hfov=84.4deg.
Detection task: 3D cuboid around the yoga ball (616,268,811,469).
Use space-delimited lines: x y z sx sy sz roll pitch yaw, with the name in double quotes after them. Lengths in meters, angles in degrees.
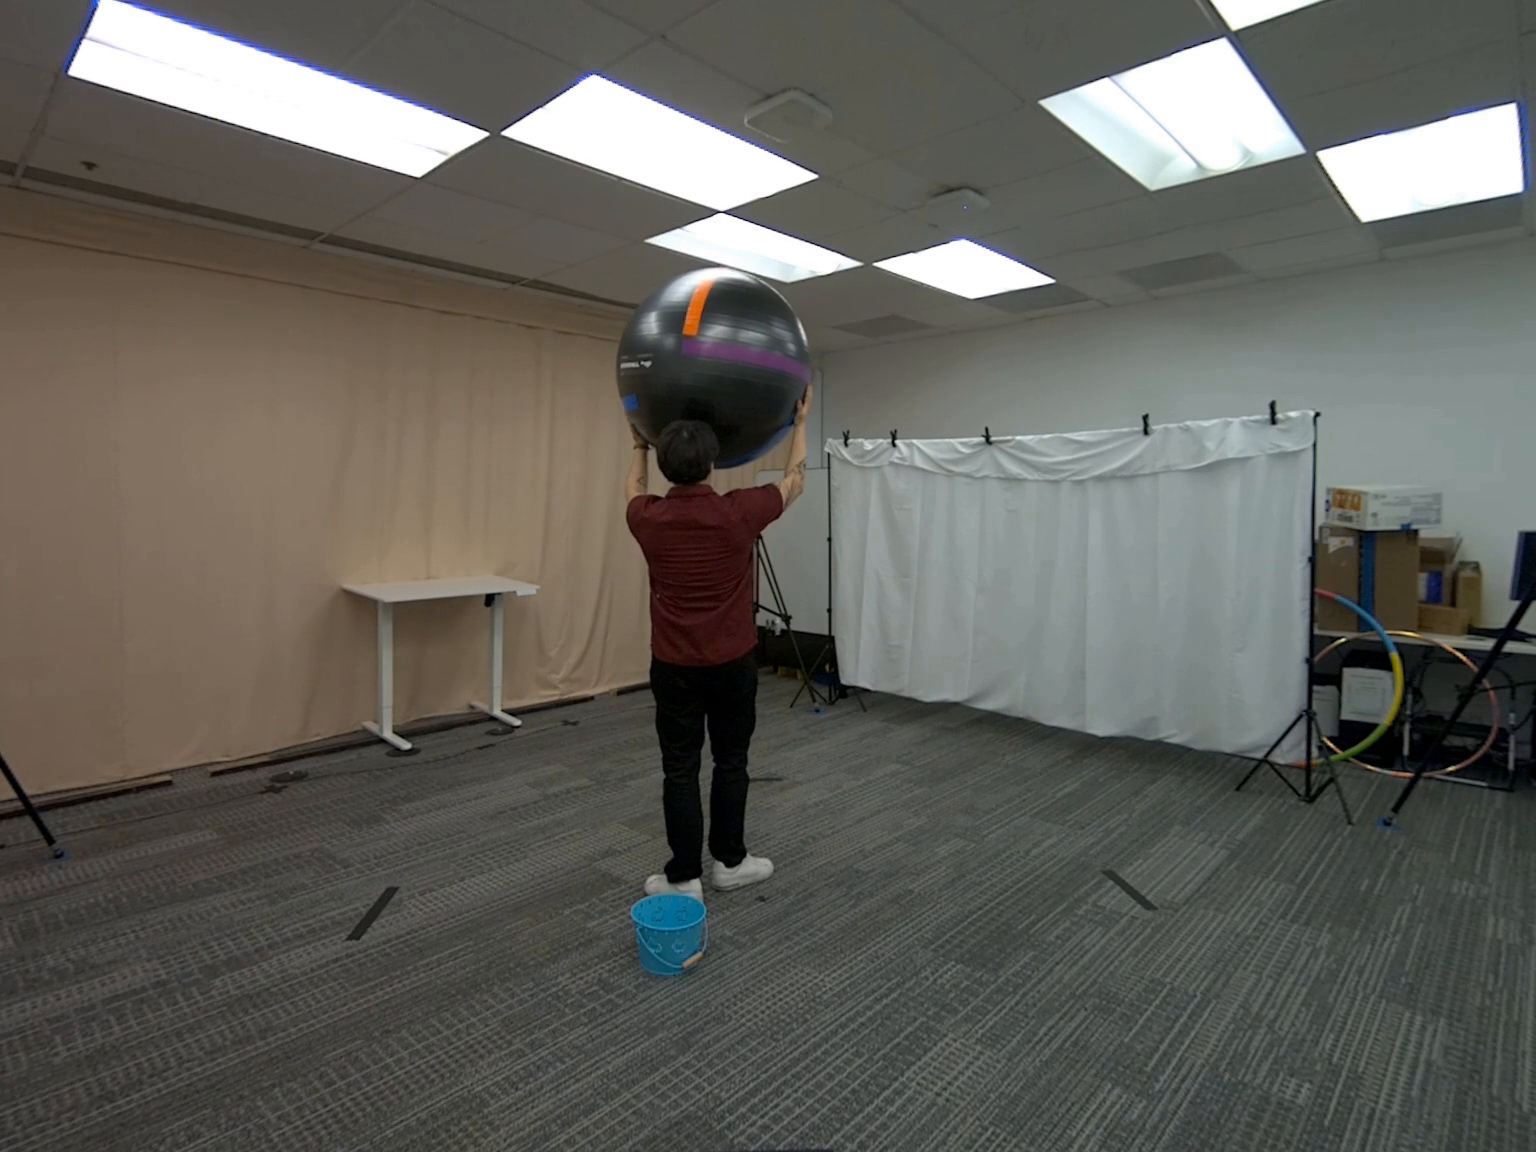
-0.219 -0.790 3.268 0.757 0.756 0.760 0 4 -2 "yoga ball"
